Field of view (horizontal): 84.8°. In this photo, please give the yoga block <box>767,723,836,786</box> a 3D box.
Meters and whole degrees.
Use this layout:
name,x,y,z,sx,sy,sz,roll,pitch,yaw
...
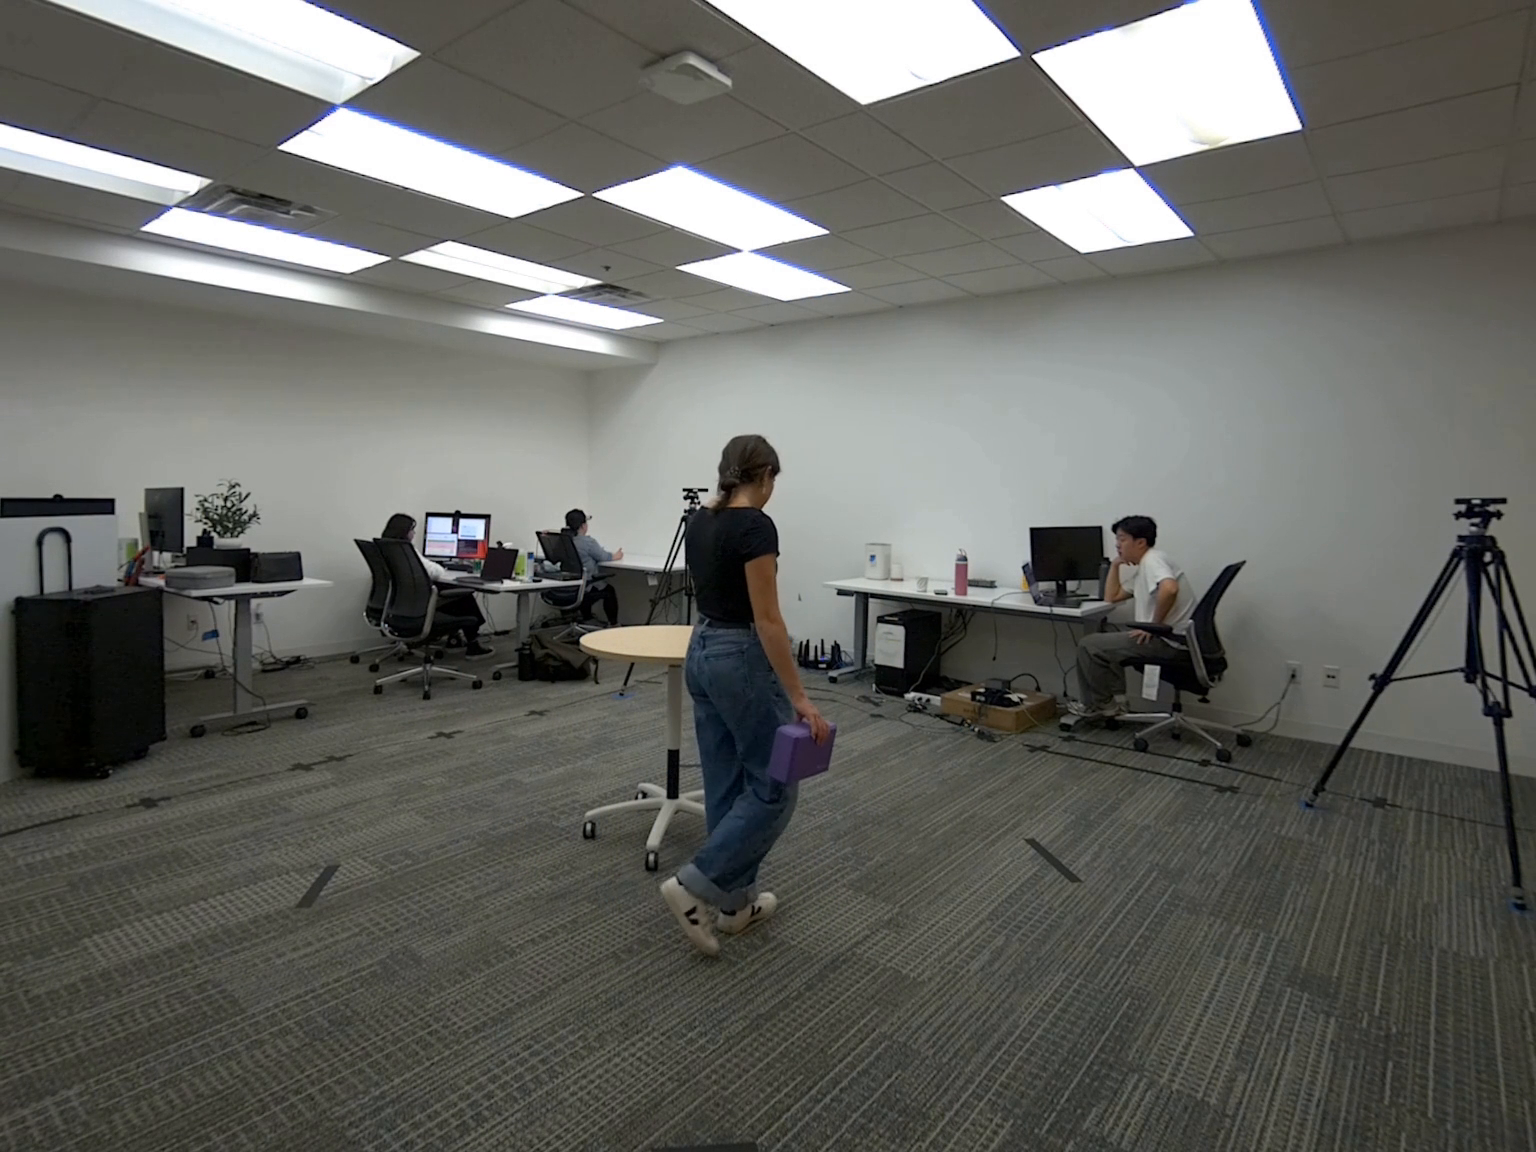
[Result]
name,x,y,z,sx,sy,sz,roll,pitch,yaw
yoga block,0.098,0.498,2.468,0.079,0.148,0.222,13,7,37
